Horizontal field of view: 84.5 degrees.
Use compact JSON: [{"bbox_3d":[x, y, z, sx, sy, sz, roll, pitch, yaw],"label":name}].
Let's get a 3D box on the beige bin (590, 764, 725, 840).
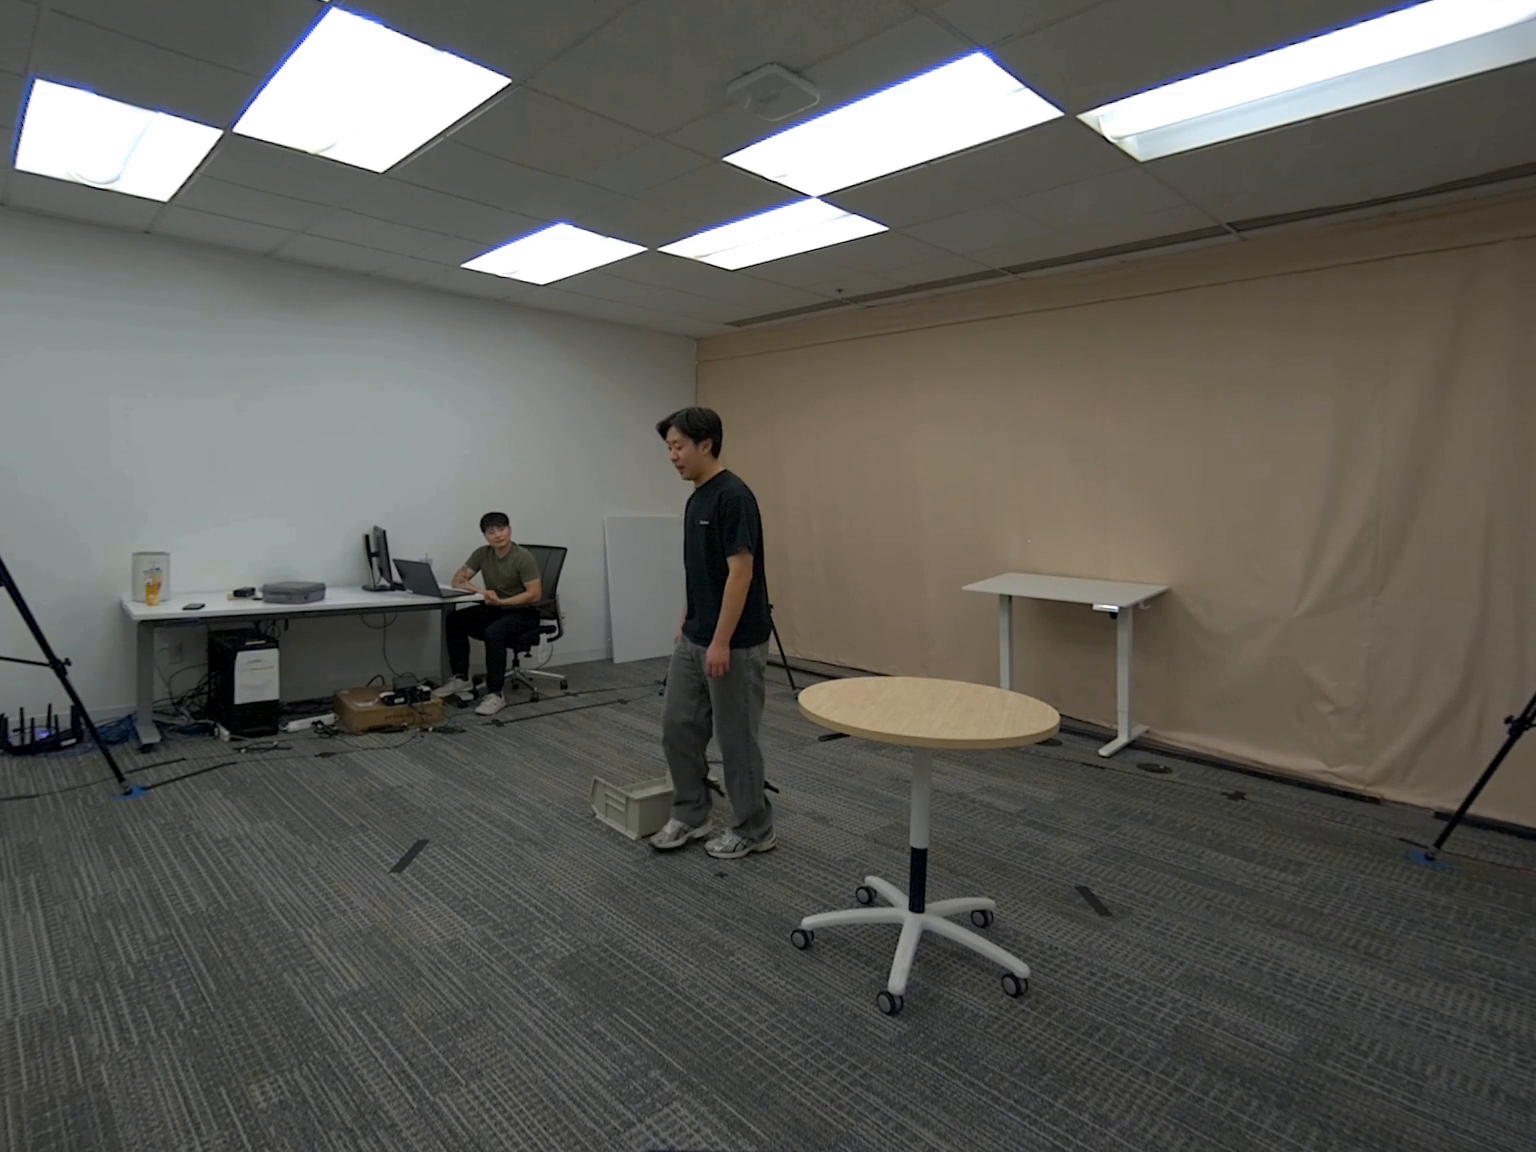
[{"bbox_3d":[-0.505,0.958,3.655,0.413,0.188,0.387,-3,7,-41],"label":"beige bin"}]
